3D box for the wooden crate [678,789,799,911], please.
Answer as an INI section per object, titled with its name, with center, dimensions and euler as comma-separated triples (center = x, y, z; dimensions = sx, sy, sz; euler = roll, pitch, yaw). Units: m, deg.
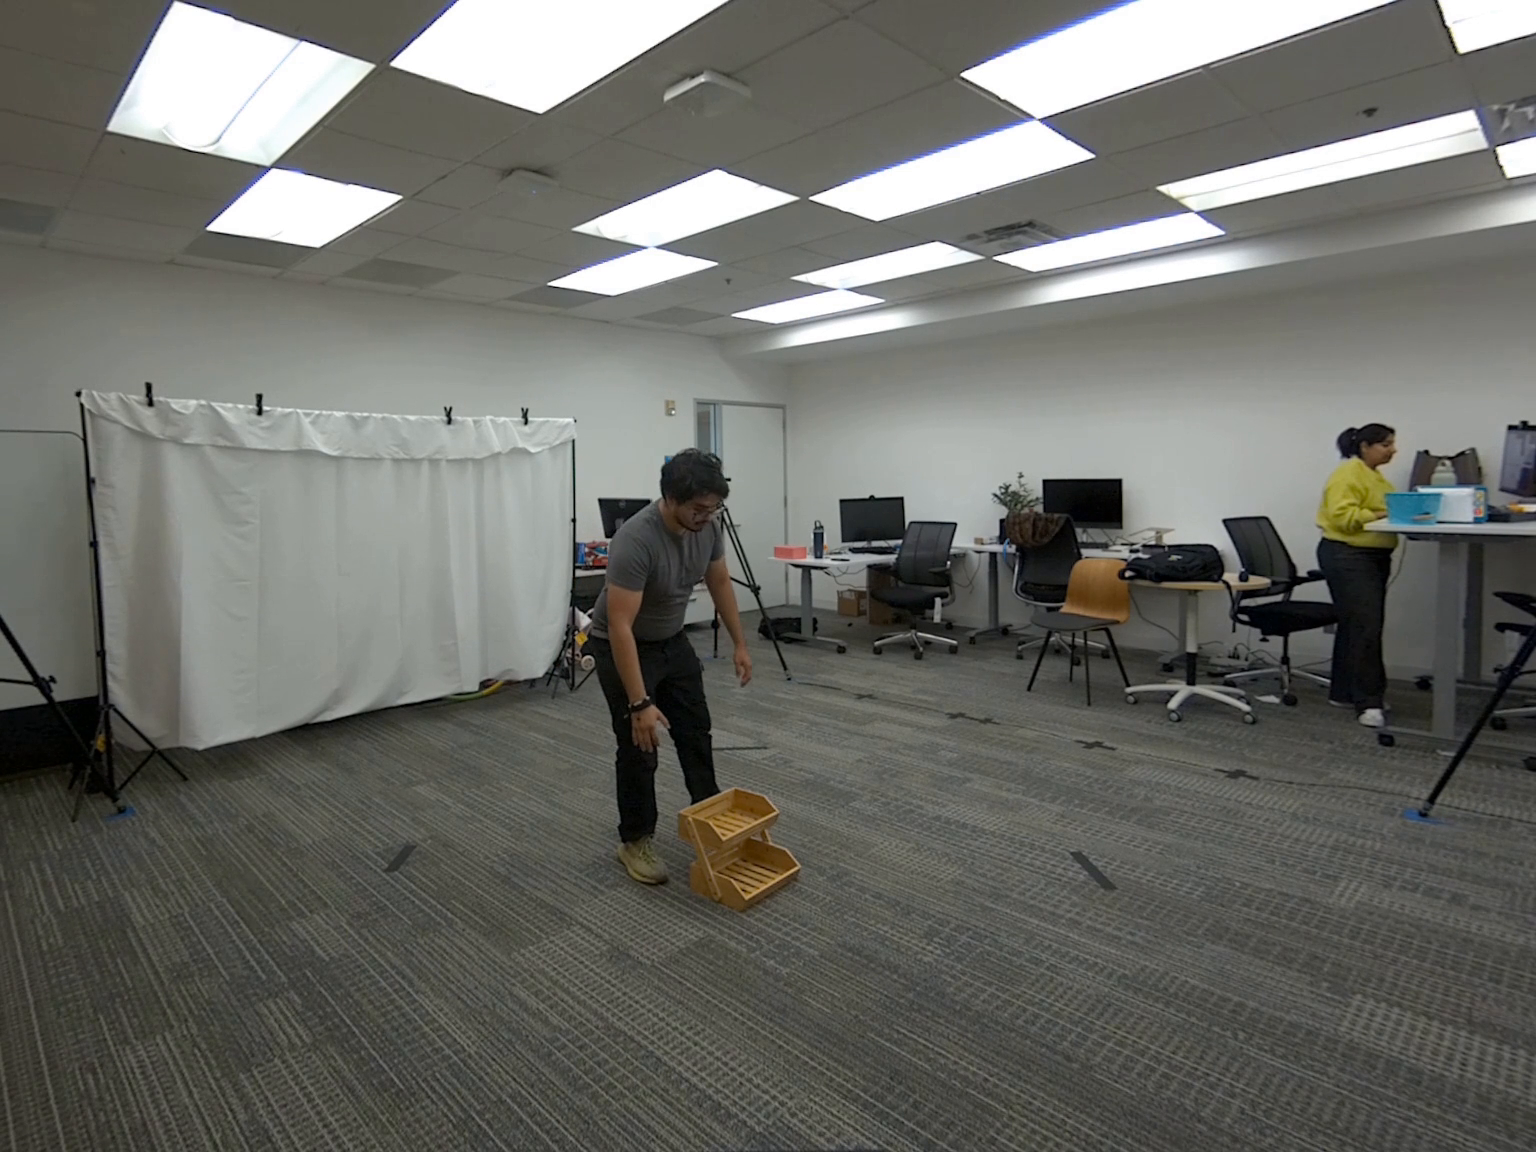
[wooden crate]
center = -0.096, 0.922, 2.948
dimensions = 0.311, 0.272, 0.316
euler = 3, 7, 40
